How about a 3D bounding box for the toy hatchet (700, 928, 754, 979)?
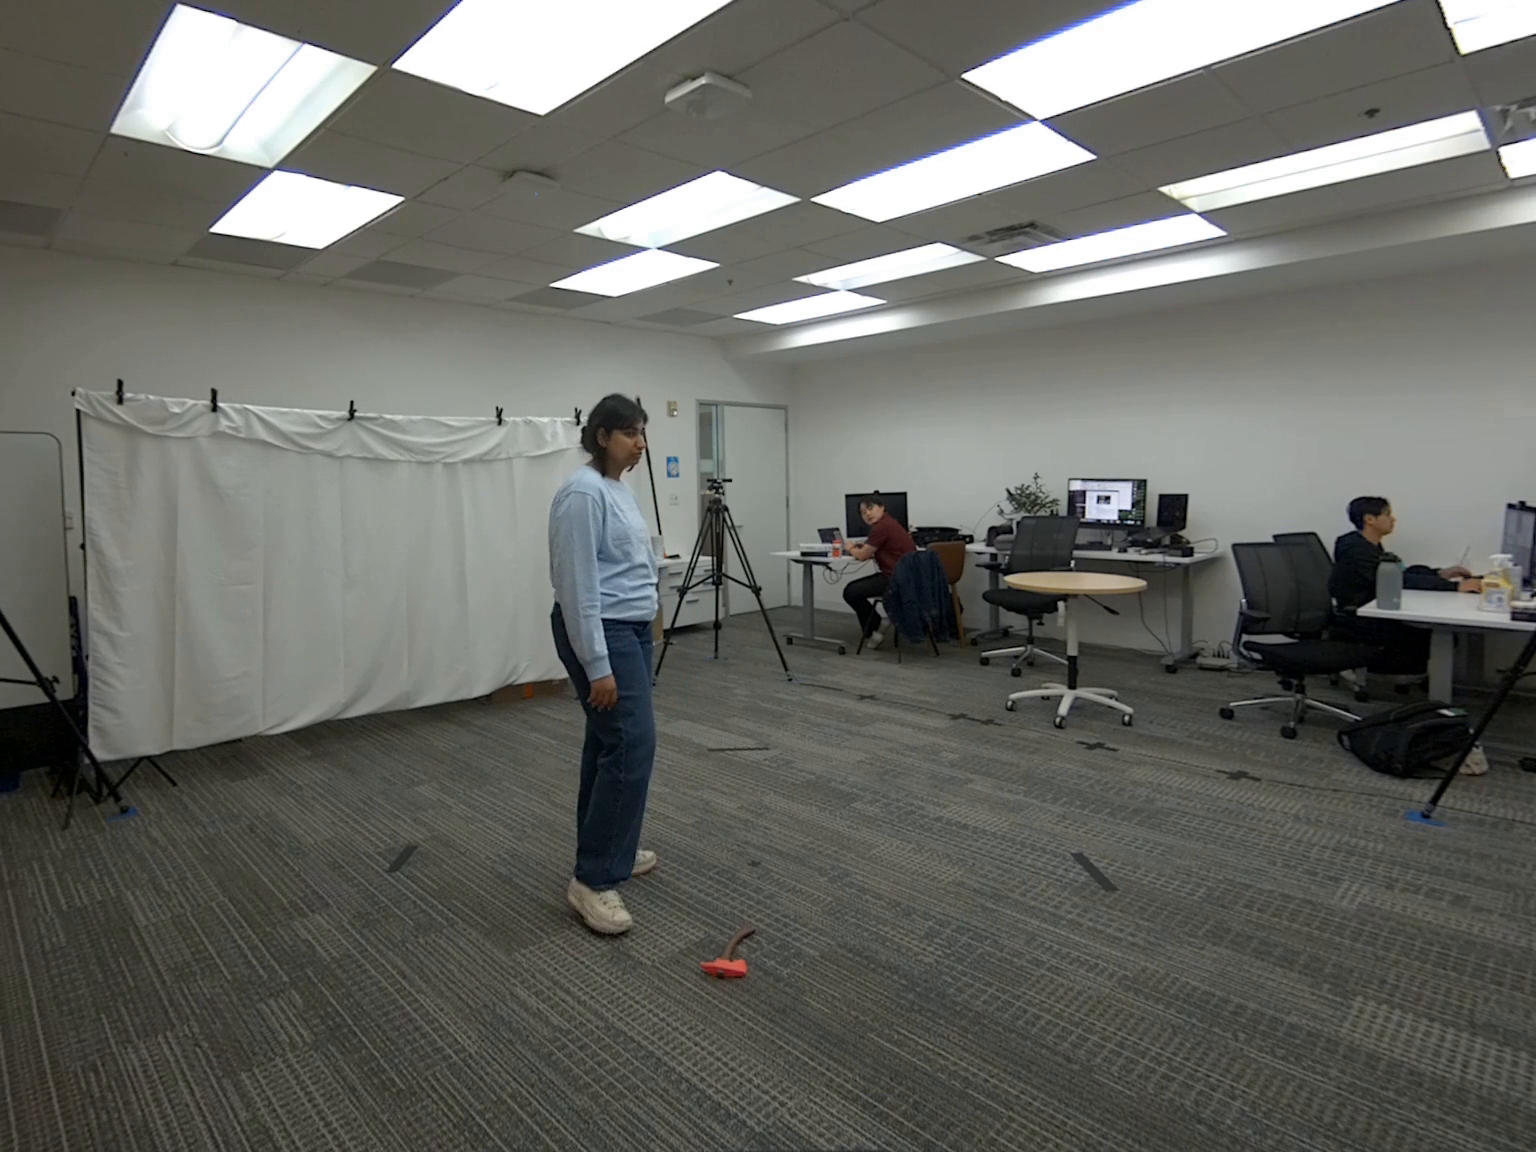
[{"bbox_3d":[-0.075,1.100,2.509,0.134,0.029,0.264,2,5,31],"label":"toy hatchet"}]
